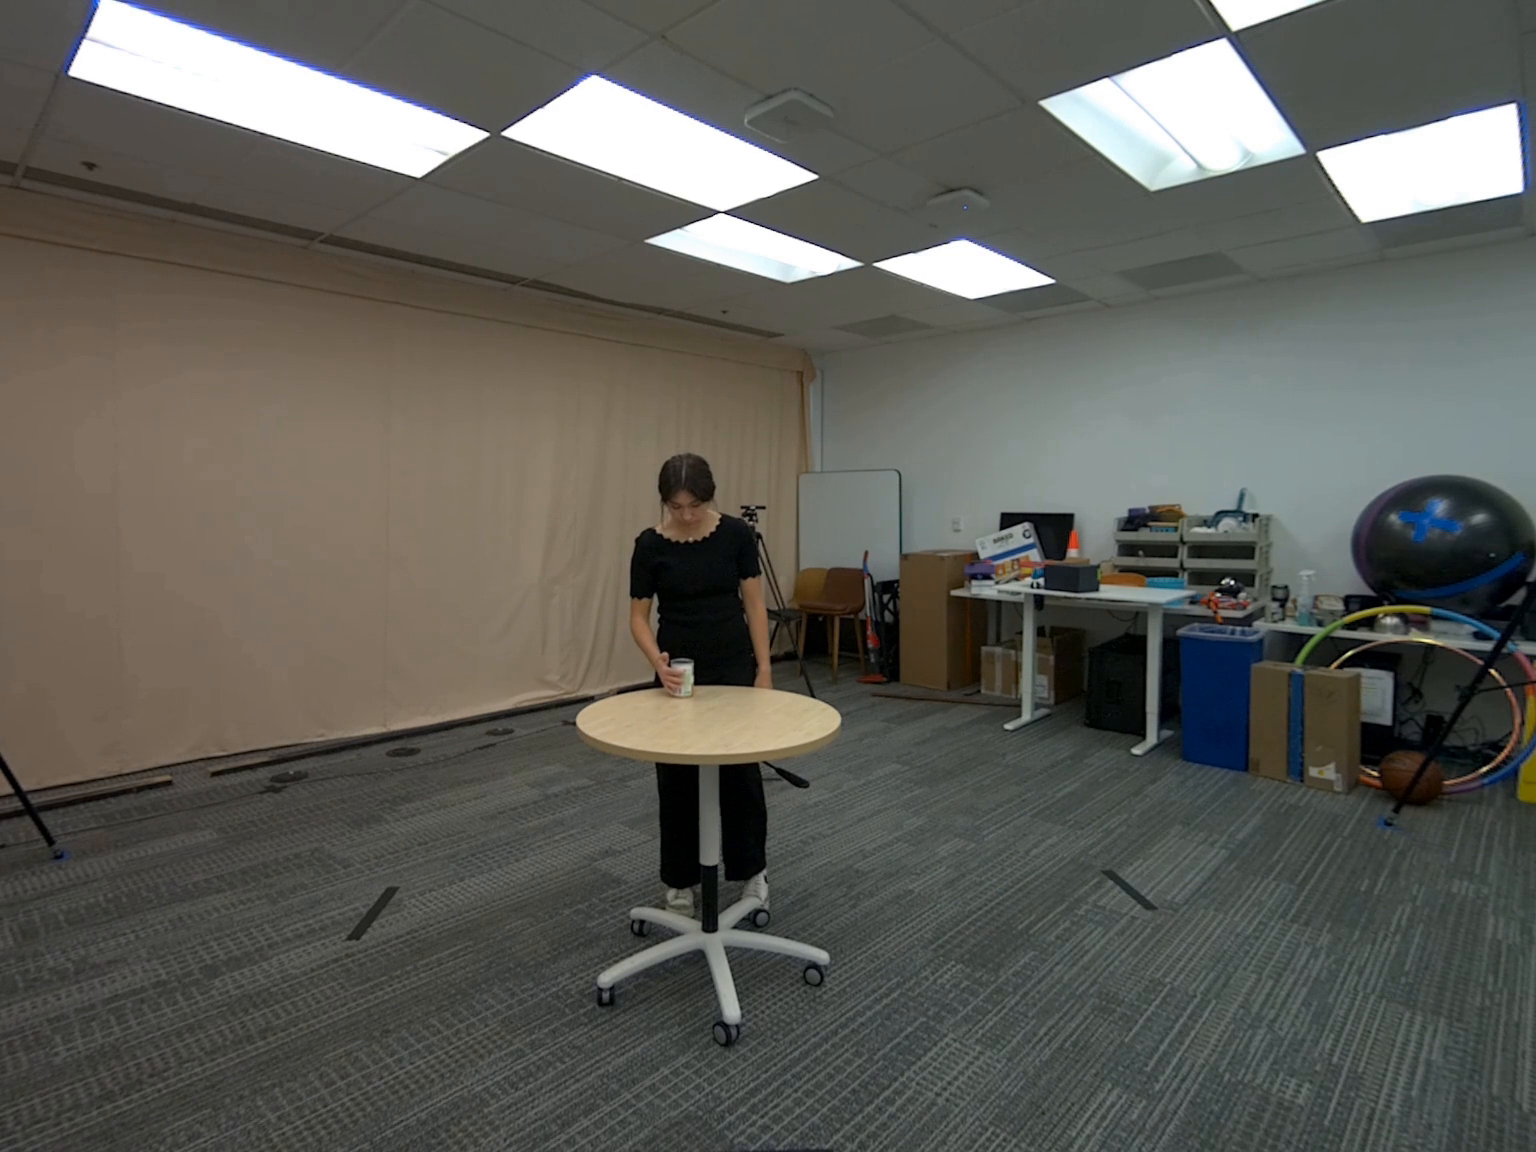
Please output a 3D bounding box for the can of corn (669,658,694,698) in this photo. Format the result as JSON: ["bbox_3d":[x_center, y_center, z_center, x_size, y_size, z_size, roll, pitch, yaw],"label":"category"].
[{"bbox_3d":[-0.274,0.330,2.682,0.074,0.111,0.074,-4,5,-1],"label":"can of corn"}]
